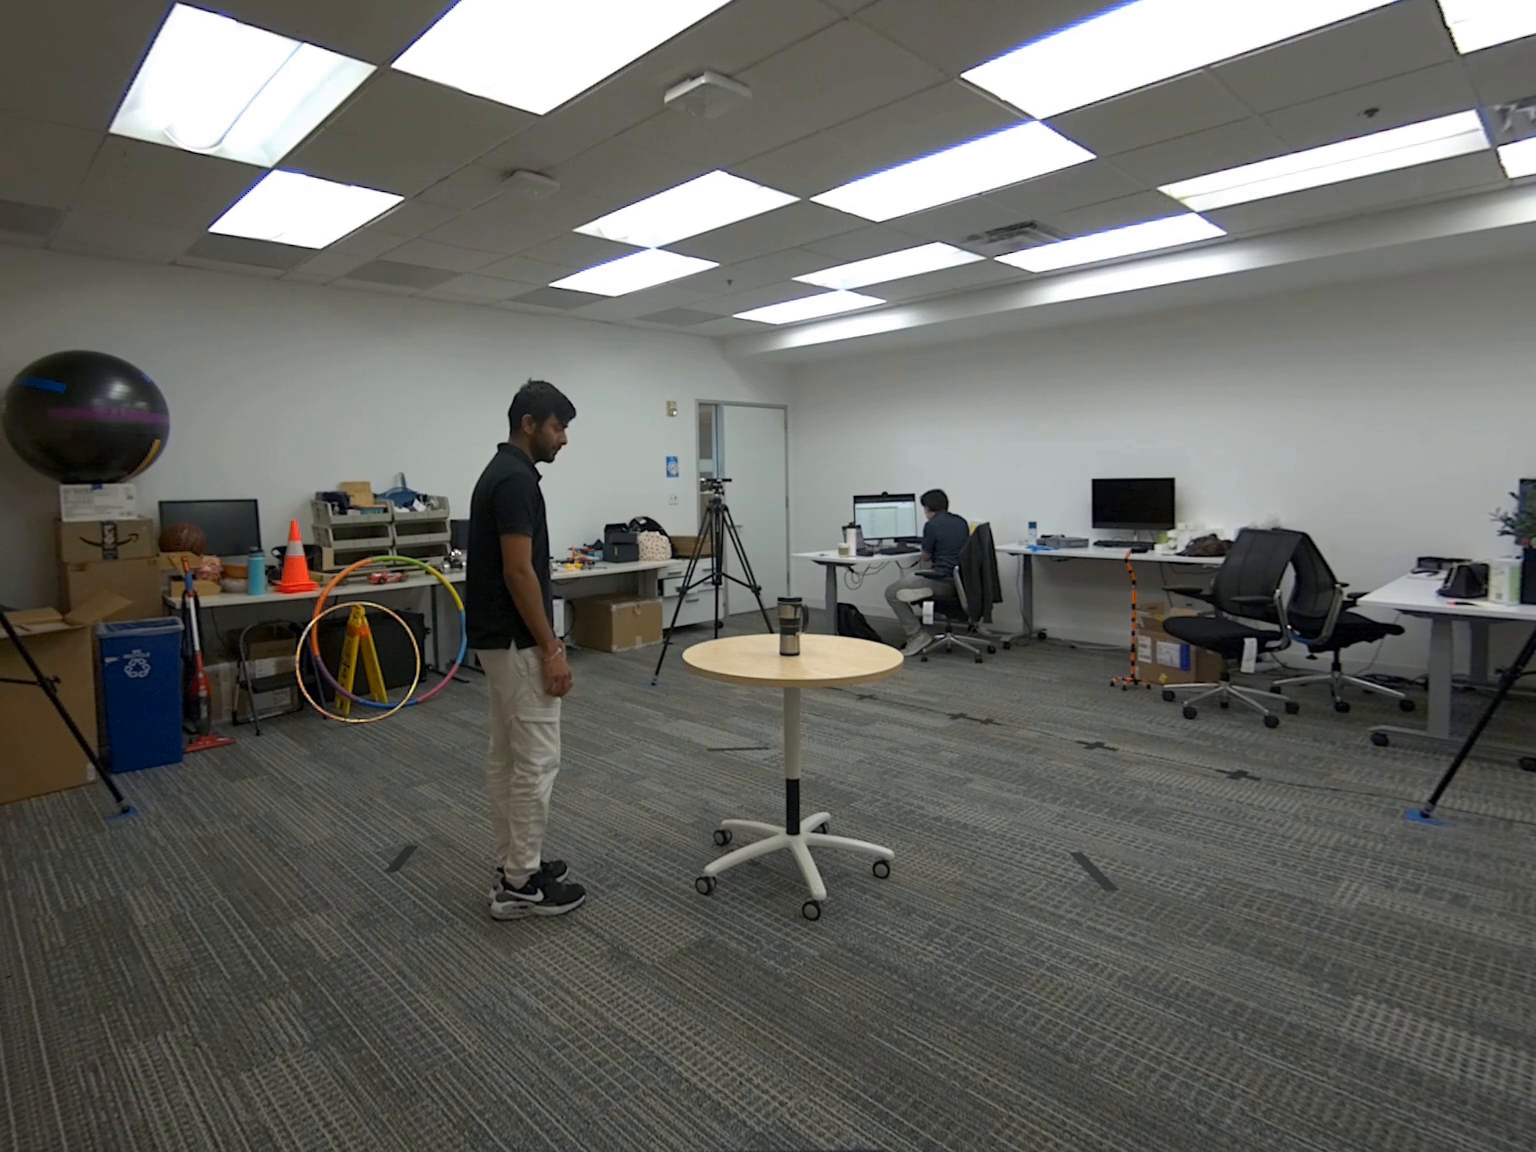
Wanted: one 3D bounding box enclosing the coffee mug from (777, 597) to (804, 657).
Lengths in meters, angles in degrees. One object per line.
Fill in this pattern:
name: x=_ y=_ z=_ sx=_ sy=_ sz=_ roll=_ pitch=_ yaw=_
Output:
coffee mug: x=0.064 y=0.178 z=2.951 sx=0.091 sy=0.202 sz=0.119 roll=9 pitch=9 yaw=36
